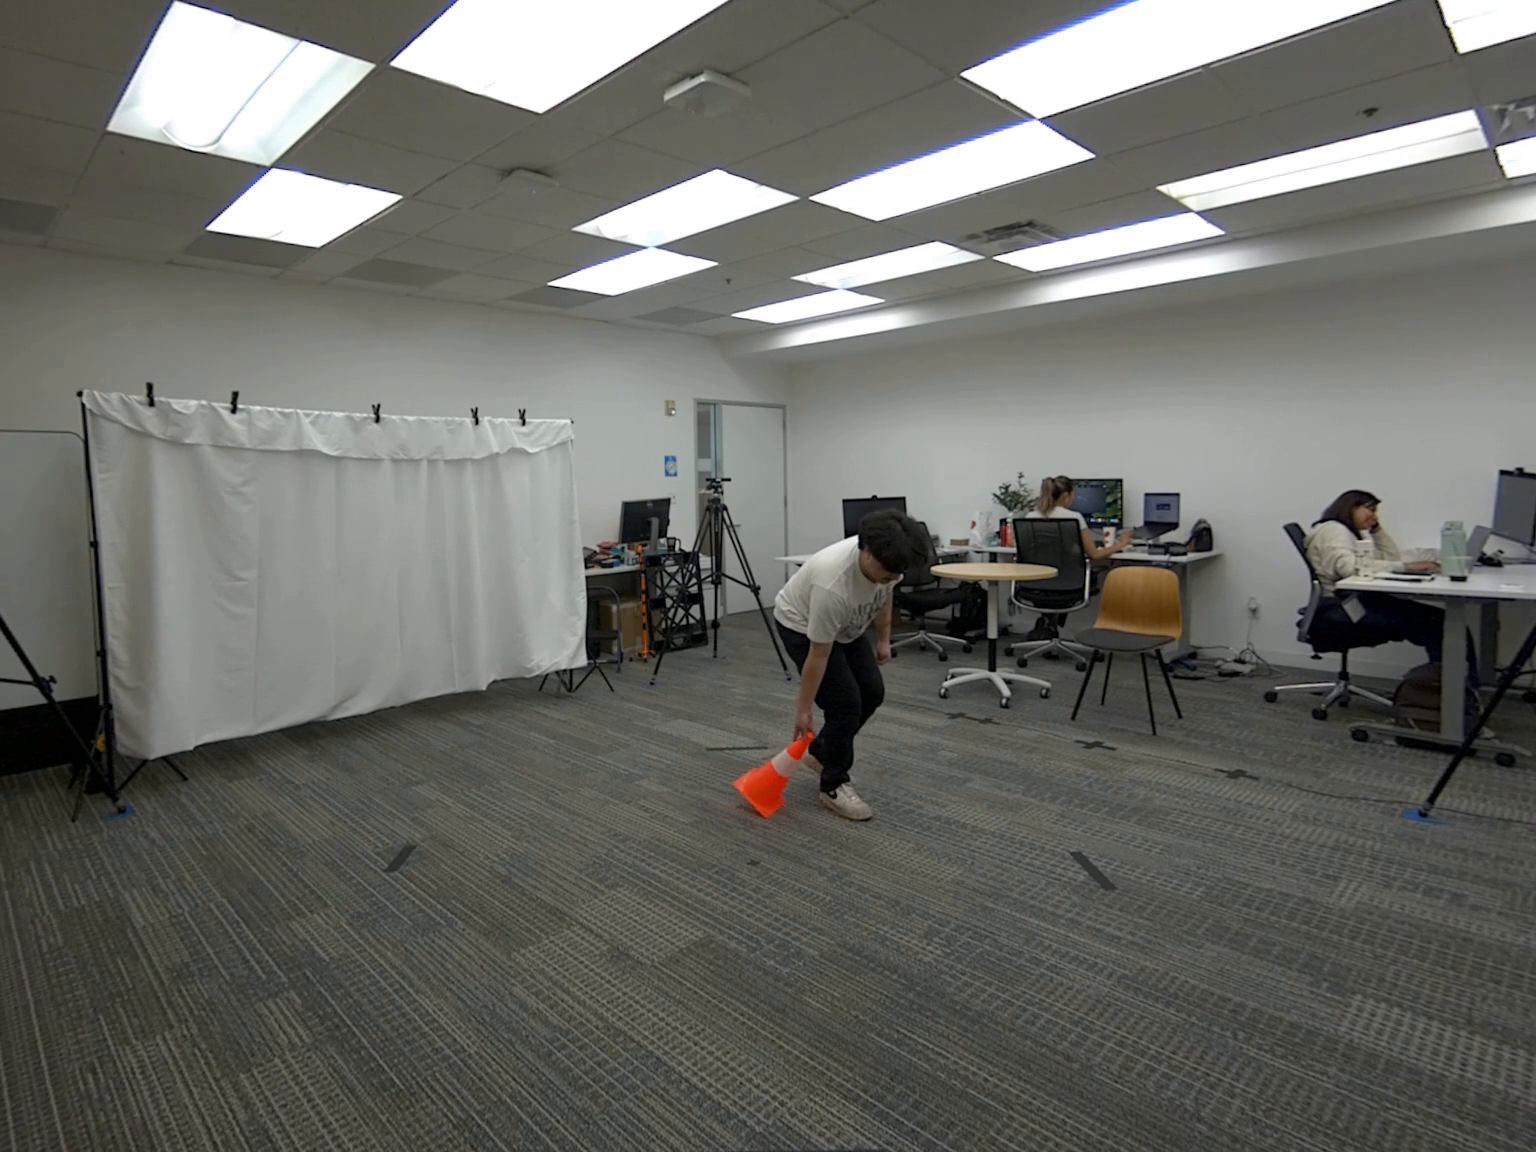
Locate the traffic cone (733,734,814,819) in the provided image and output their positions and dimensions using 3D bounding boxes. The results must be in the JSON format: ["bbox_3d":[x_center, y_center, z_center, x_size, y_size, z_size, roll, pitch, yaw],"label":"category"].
[{"bbox_3d":[0.066,0.786,3.555,0.208,0.382,0.202,40,25,15],"label":"traffic cone"}]
